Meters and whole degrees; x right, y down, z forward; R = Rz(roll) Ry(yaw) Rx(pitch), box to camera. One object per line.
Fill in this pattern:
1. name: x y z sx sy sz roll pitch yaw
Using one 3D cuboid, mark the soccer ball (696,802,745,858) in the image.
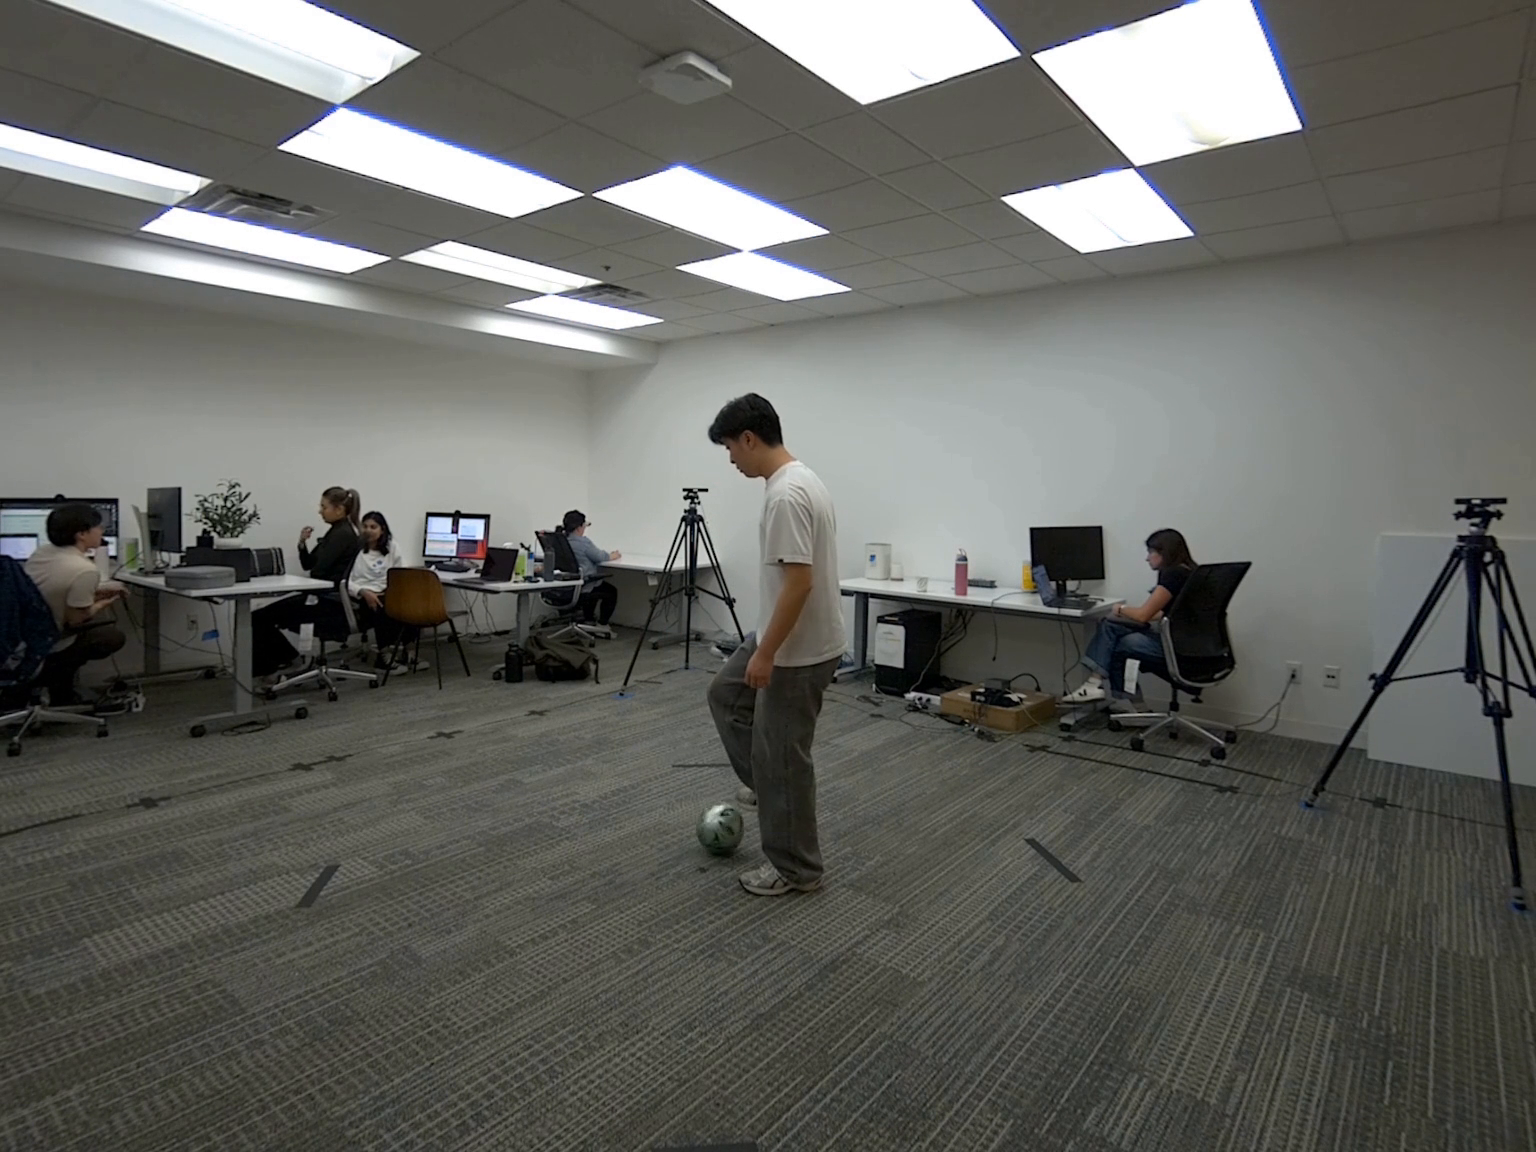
1. soccer ball: -0.212 0.957 3.265 0.187 0.187 0.188 1 4 -2
